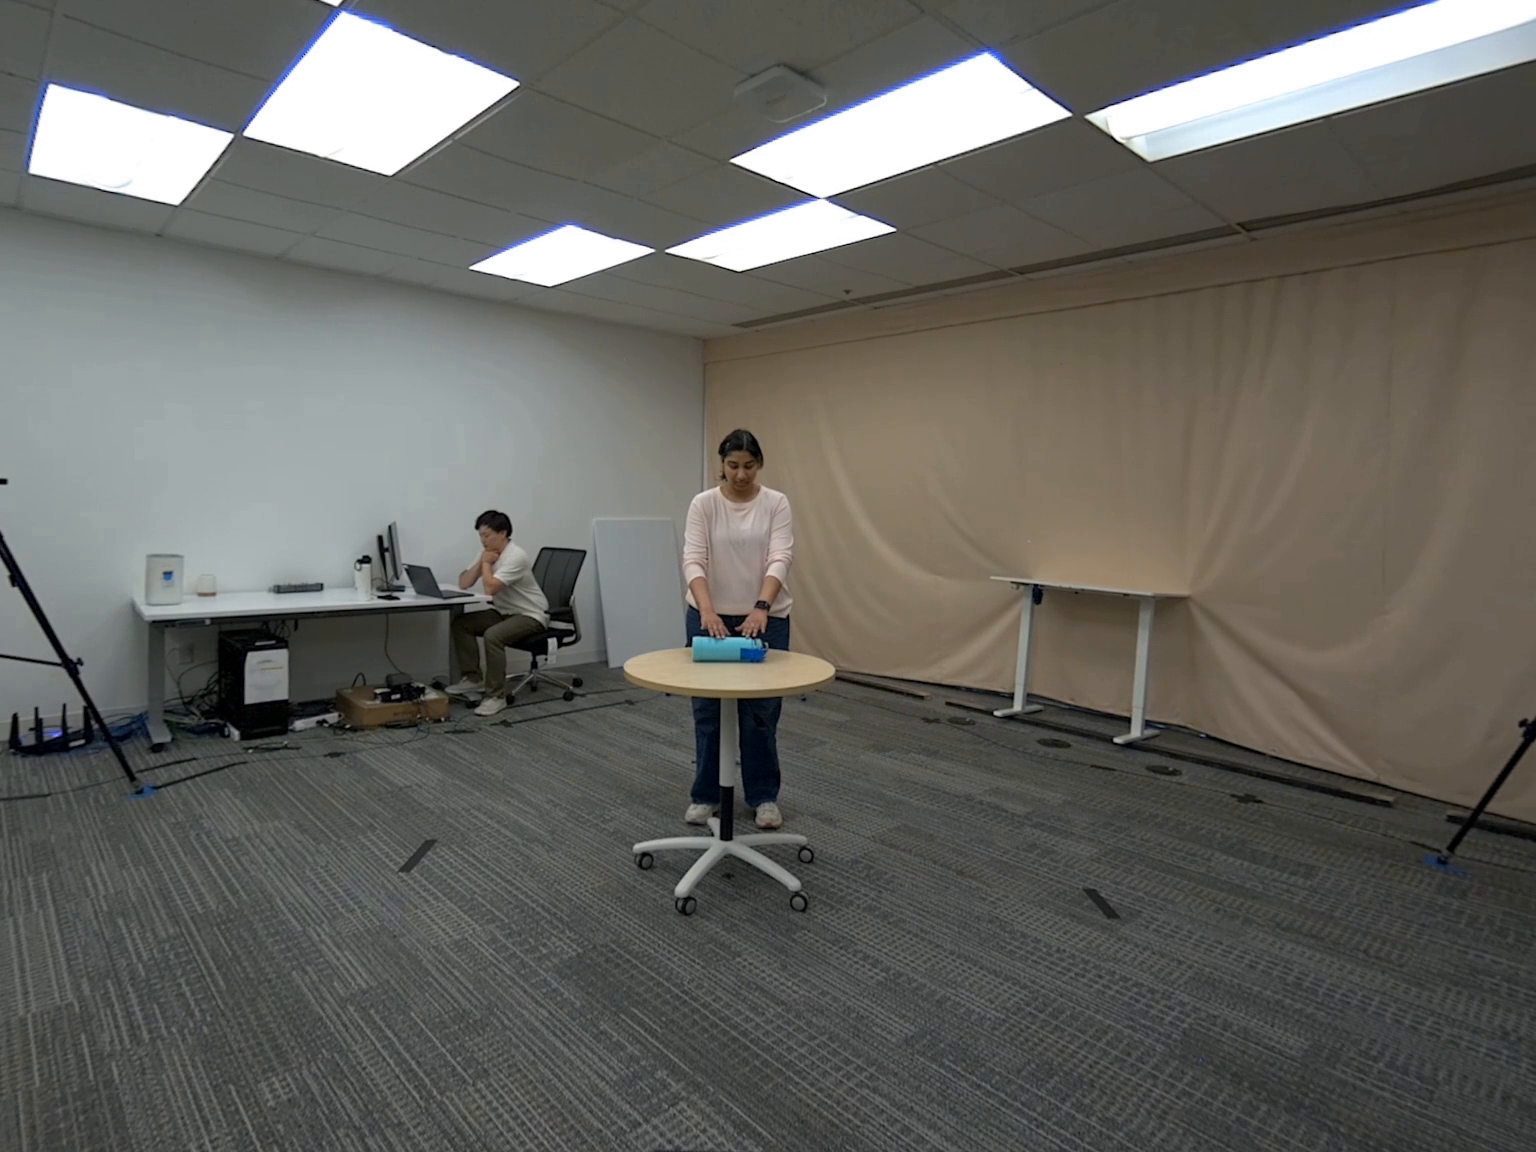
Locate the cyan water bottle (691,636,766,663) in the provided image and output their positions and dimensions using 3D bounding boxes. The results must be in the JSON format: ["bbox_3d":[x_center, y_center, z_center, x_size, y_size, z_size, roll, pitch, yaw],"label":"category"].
[{"bbox_3d":[-0.150,0.276,3.138,0.282,0.092,0.093,1,4,-4],"label":"cyan water bottle"}]
